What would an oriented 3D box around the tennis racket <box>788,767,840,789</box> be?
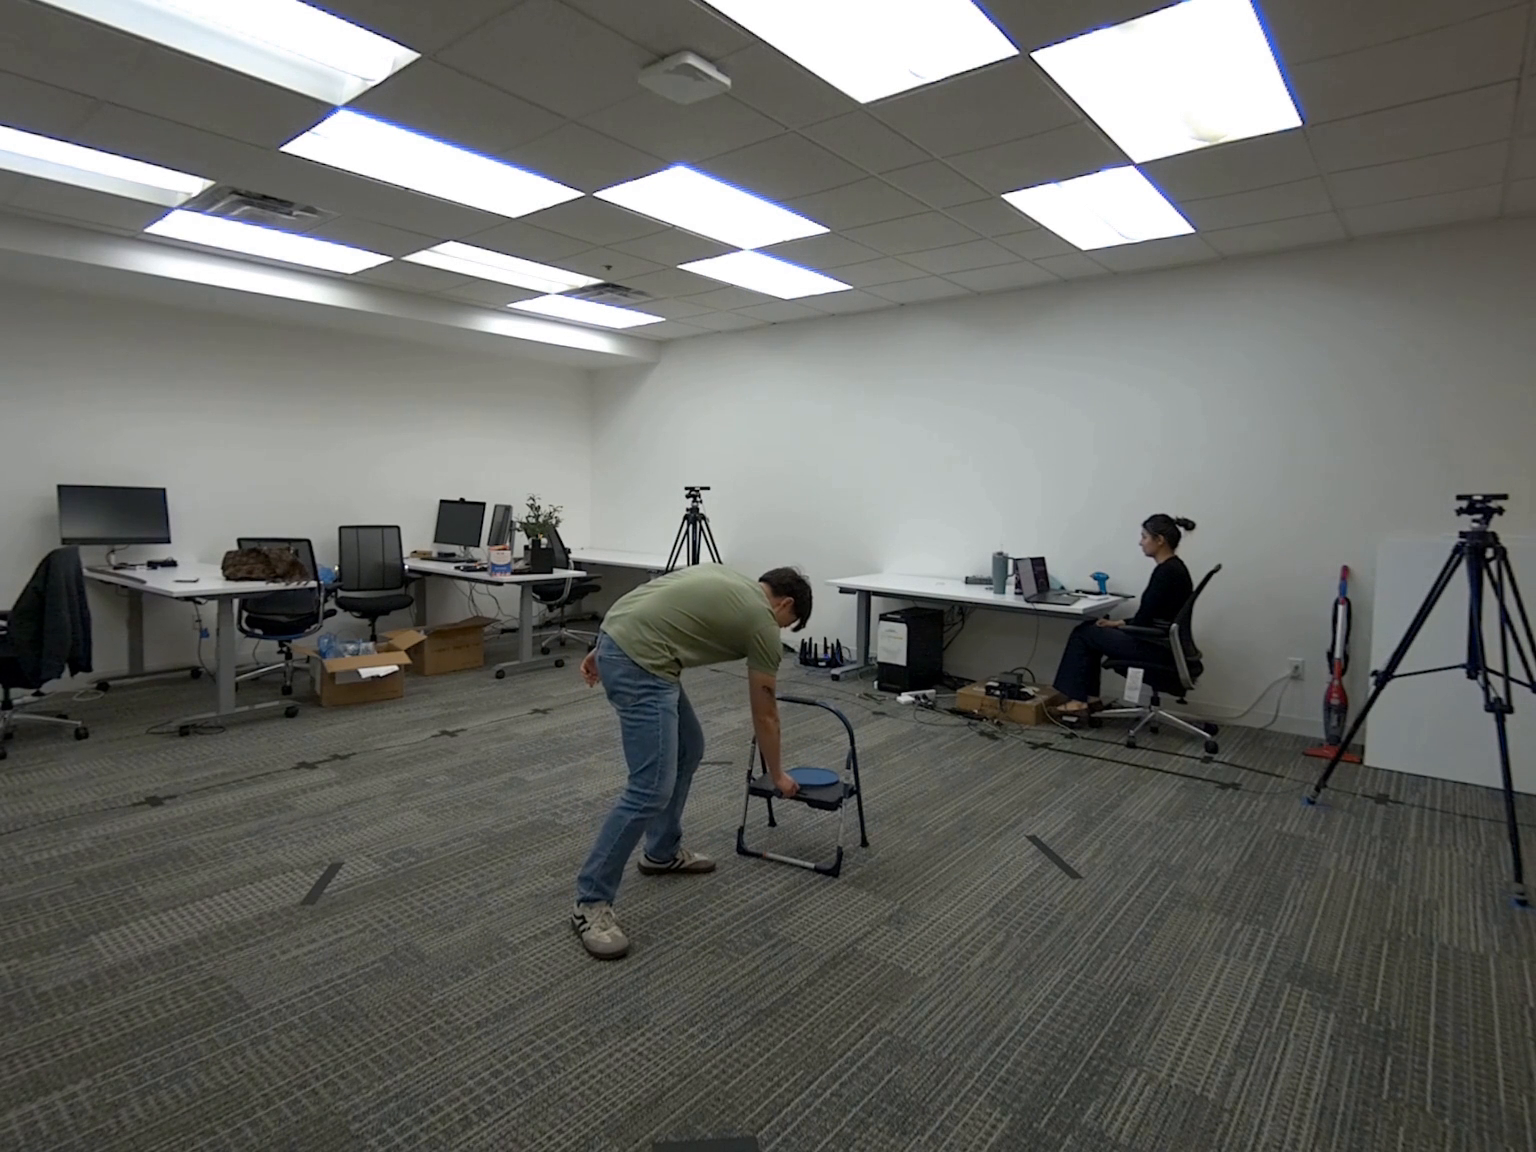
[{"bbox_3d":[0.106,0.789,3.267,0.220,0.032,0.421,8,3,26],"label":"tennis racket"}]
